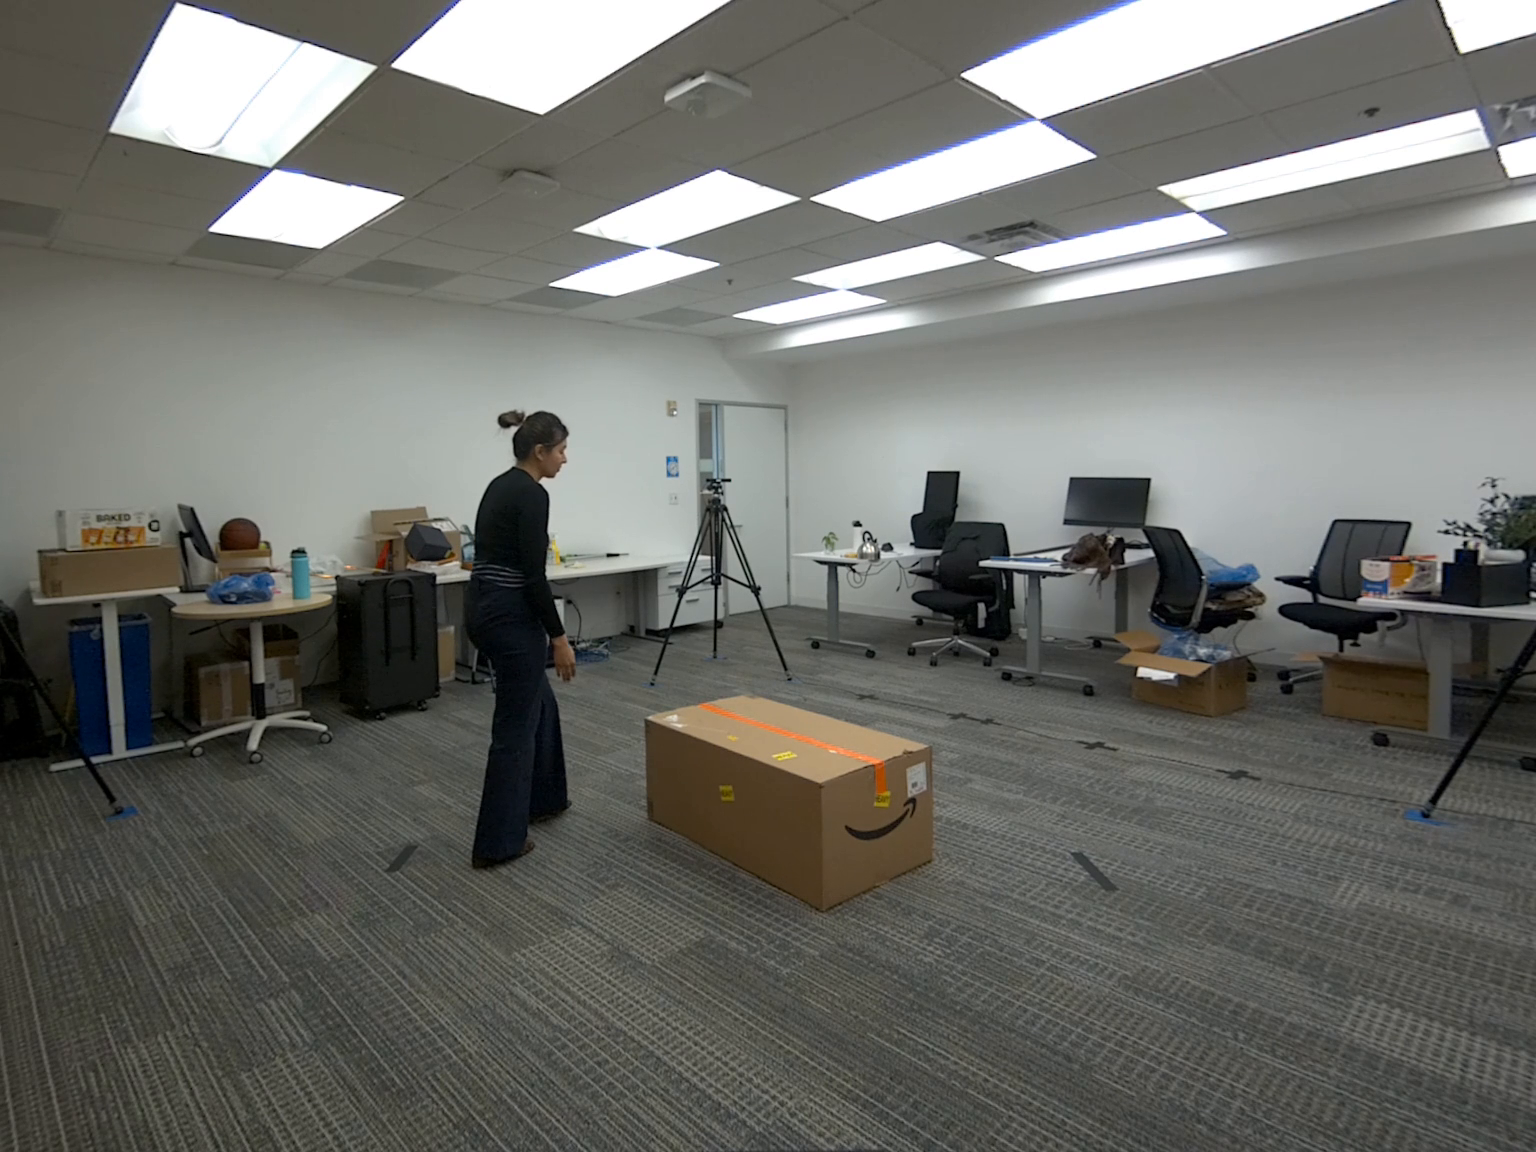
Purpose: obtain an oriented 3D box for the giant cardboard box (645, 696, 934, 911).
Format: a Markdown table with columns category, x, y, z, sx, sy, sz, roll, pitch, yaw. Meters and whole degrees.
| category | x | y | z | sx | sy | sz | roll | pitch | yaw |
| --- | --- | --- | --- | --- | --- | --- | --- | --- | --- |
| giant cardboard box | 0.049 | 0.806 | 3.309 | 0.563 | 0.424 | 1.057 | -6 | 8 | -39 |
